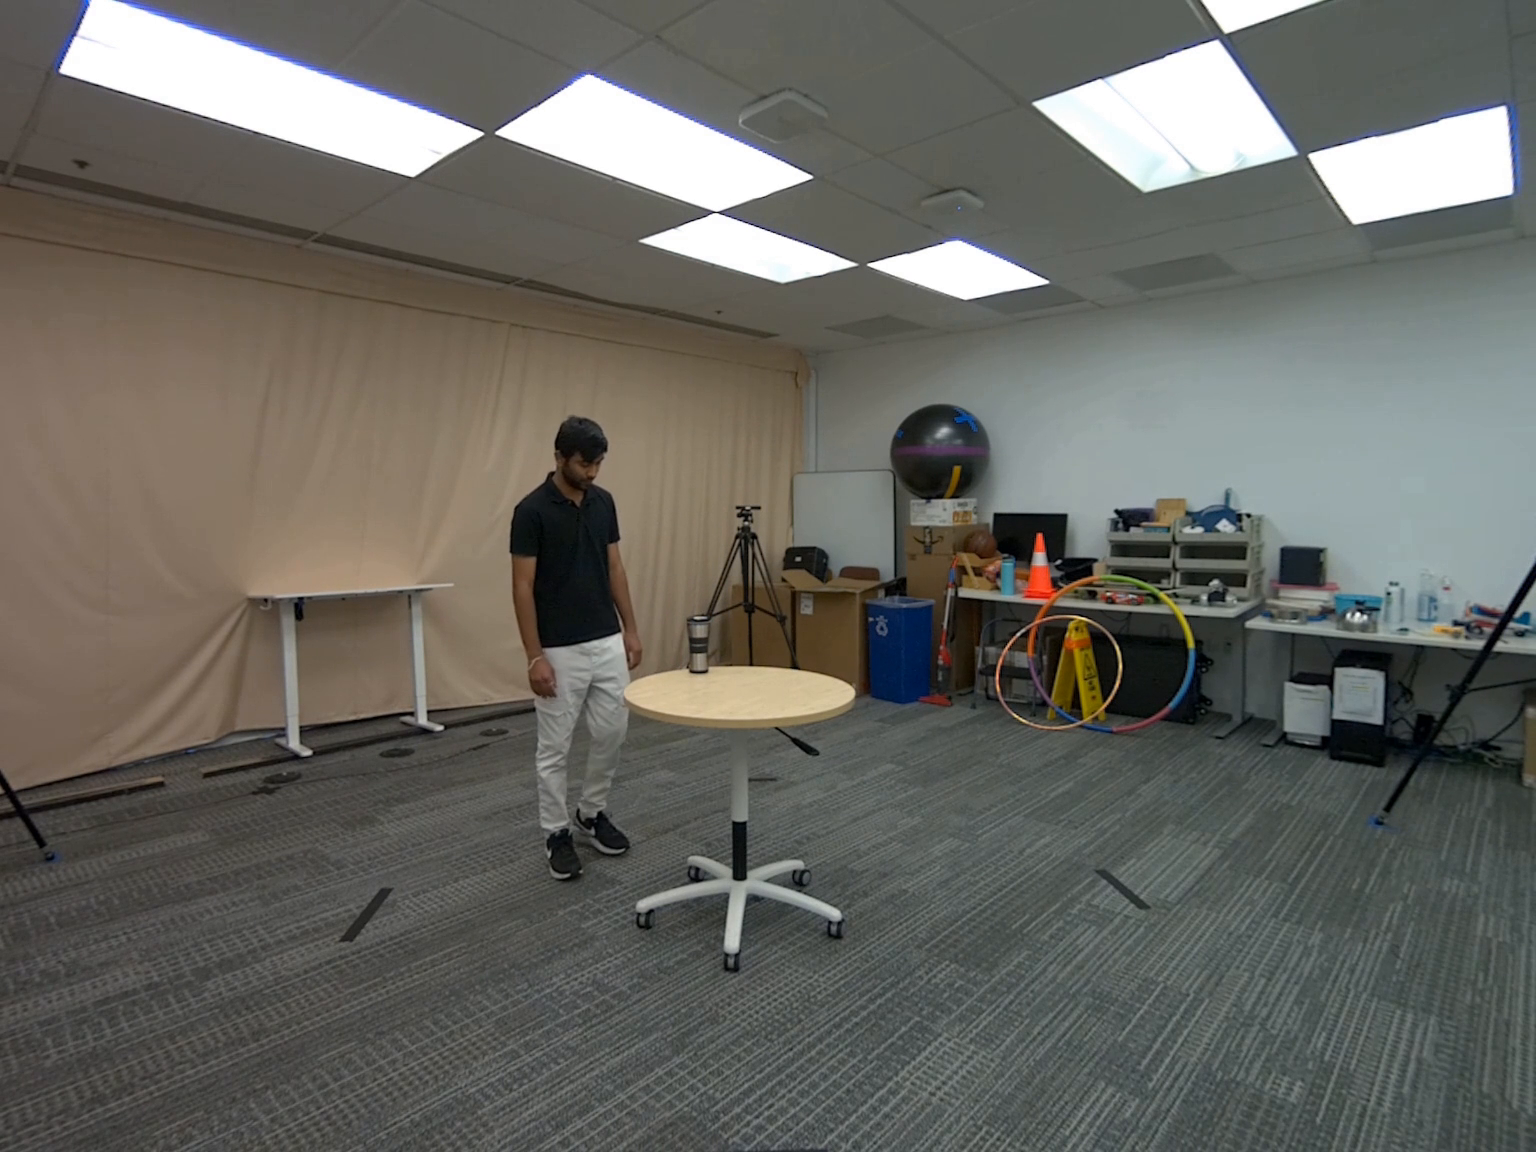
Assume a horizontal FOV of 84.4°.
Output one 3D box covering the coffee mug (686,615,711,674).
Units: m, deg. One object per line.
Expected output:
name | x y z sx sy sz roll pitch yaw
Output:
coffee mug | -0.235 0.248 3.093 0.090 0.202 0.119 1 8 30
